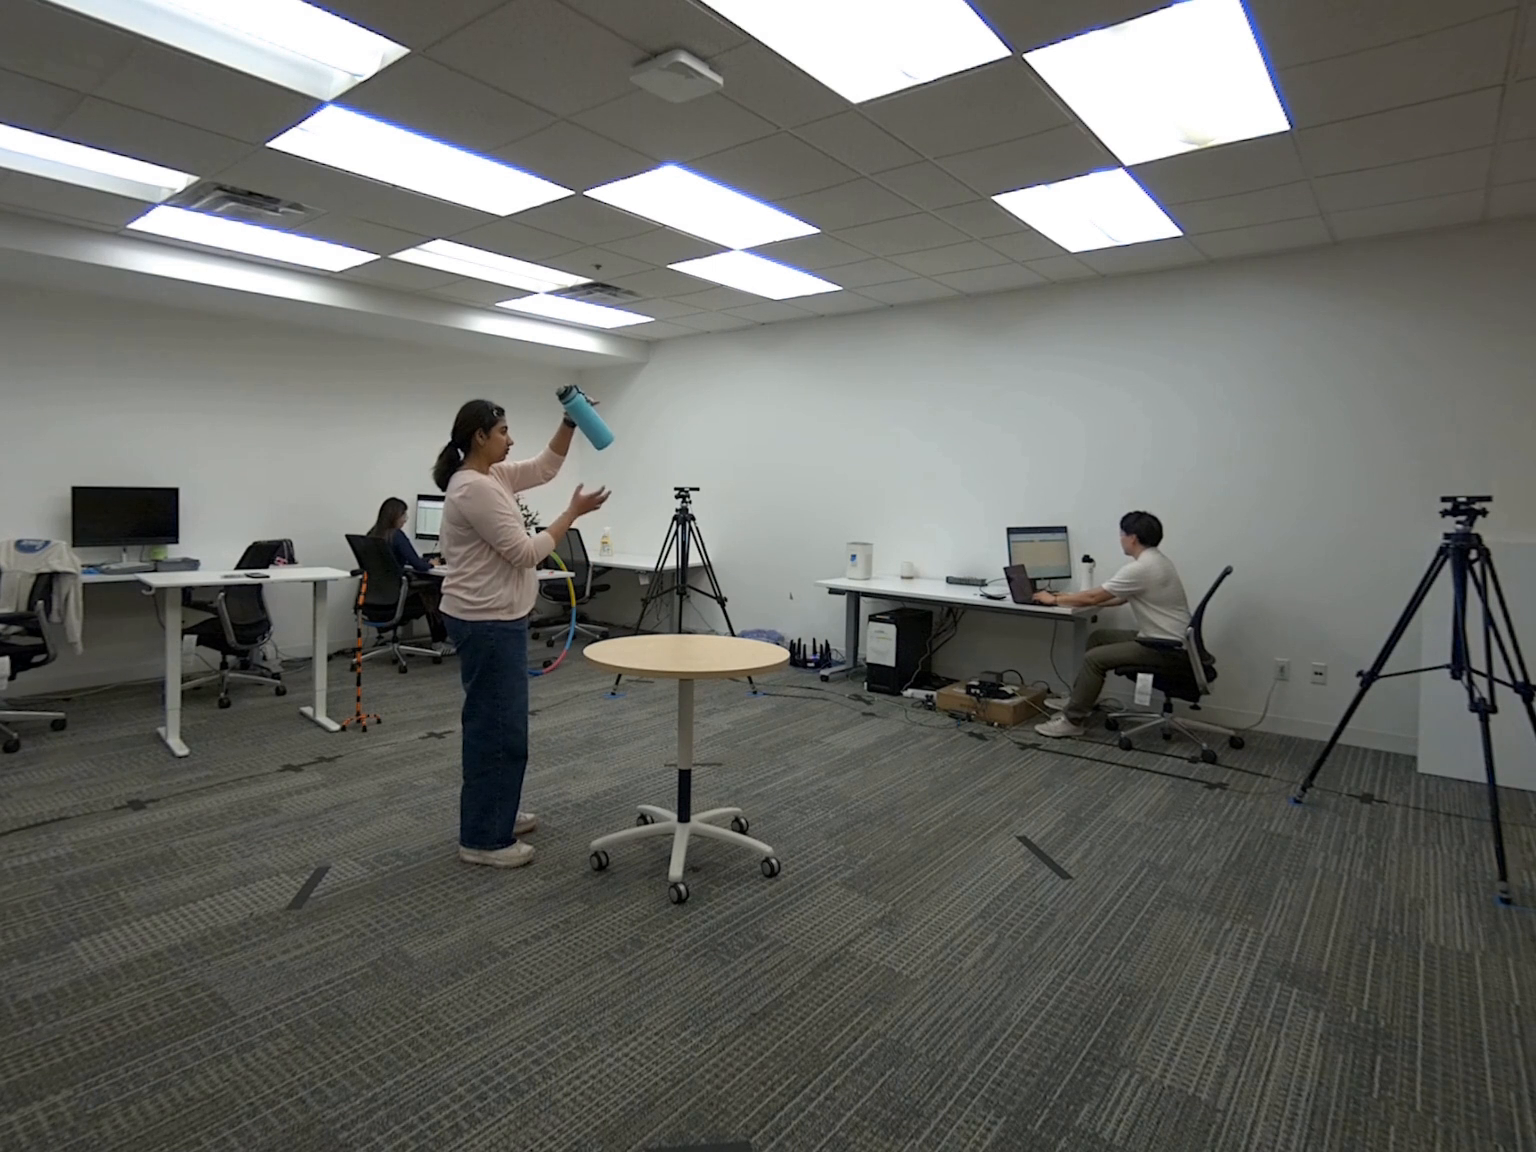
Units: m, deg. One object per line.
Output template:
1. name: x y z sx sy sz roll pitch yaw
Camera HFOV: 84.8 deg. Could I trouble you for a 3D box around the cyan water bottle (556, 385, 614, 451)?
1. cyan water bottle: -0.722 -0.601 3.263 0.093 0.274 0.095 -27 27 14
